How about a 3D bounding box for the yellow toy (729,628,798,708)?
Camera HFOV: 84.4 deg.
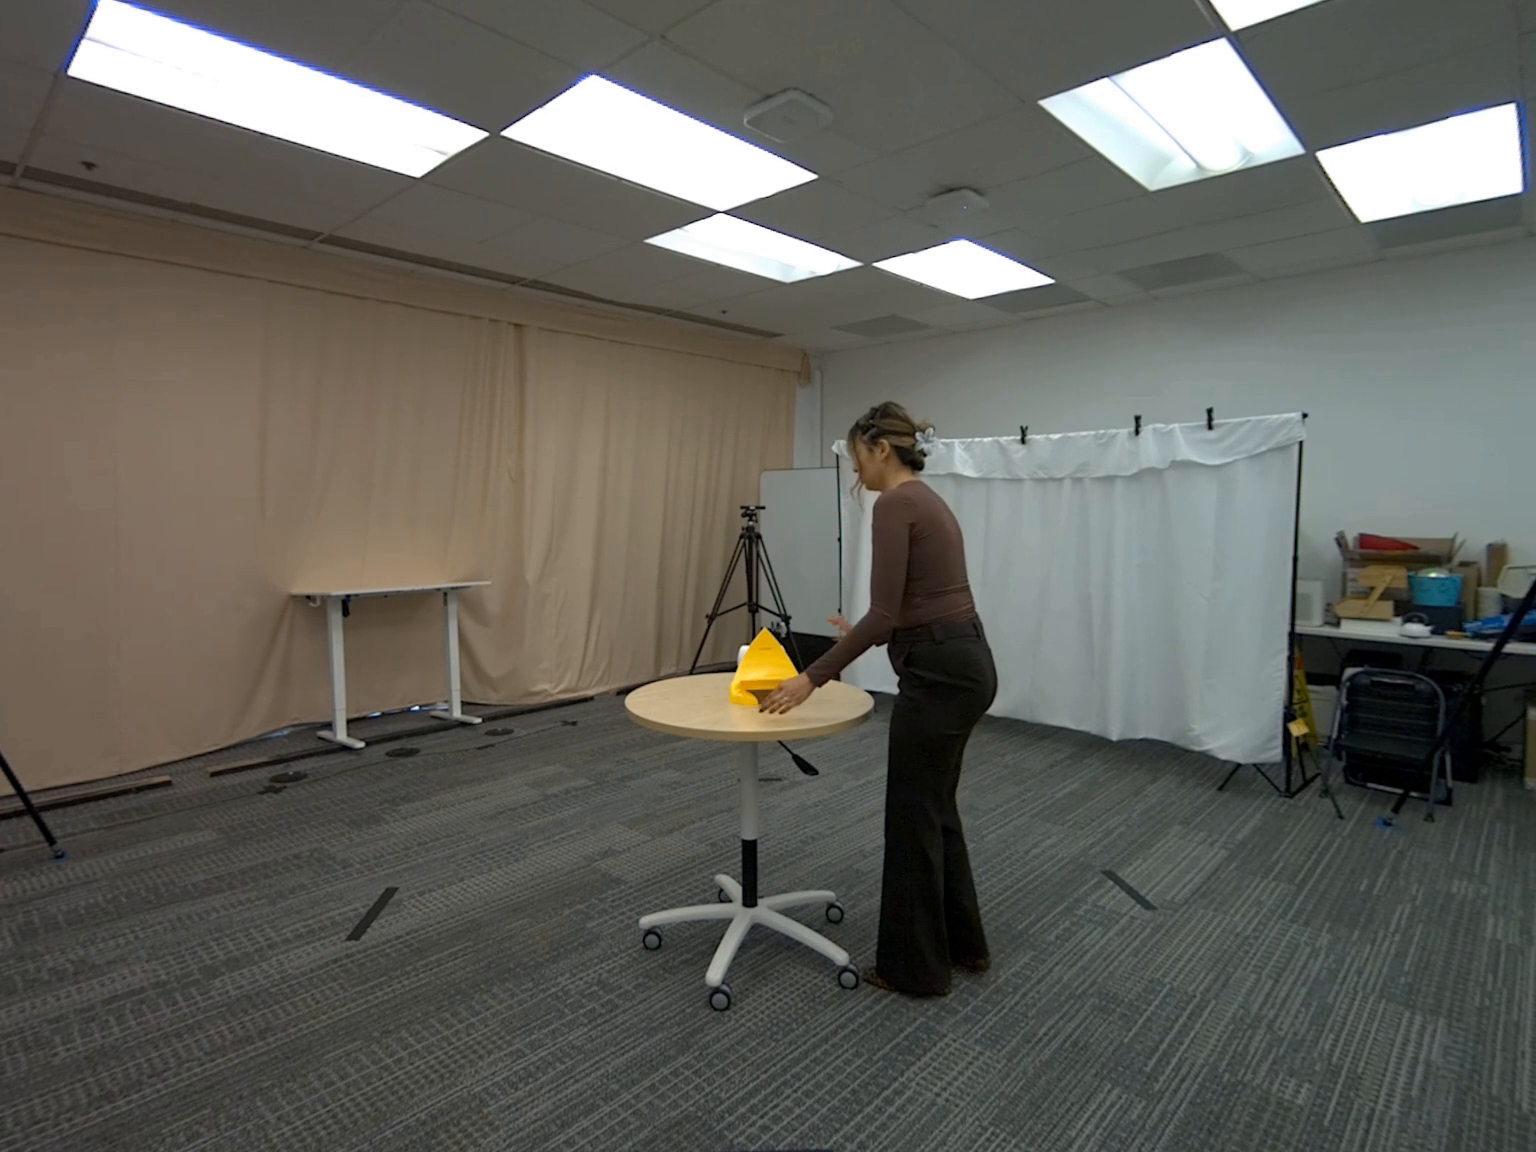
[{"bbox_3d":[-0.018,0.266,2.591,0.203,0.230,0.195,0,3,-8],"label":"yellow toy"}]
